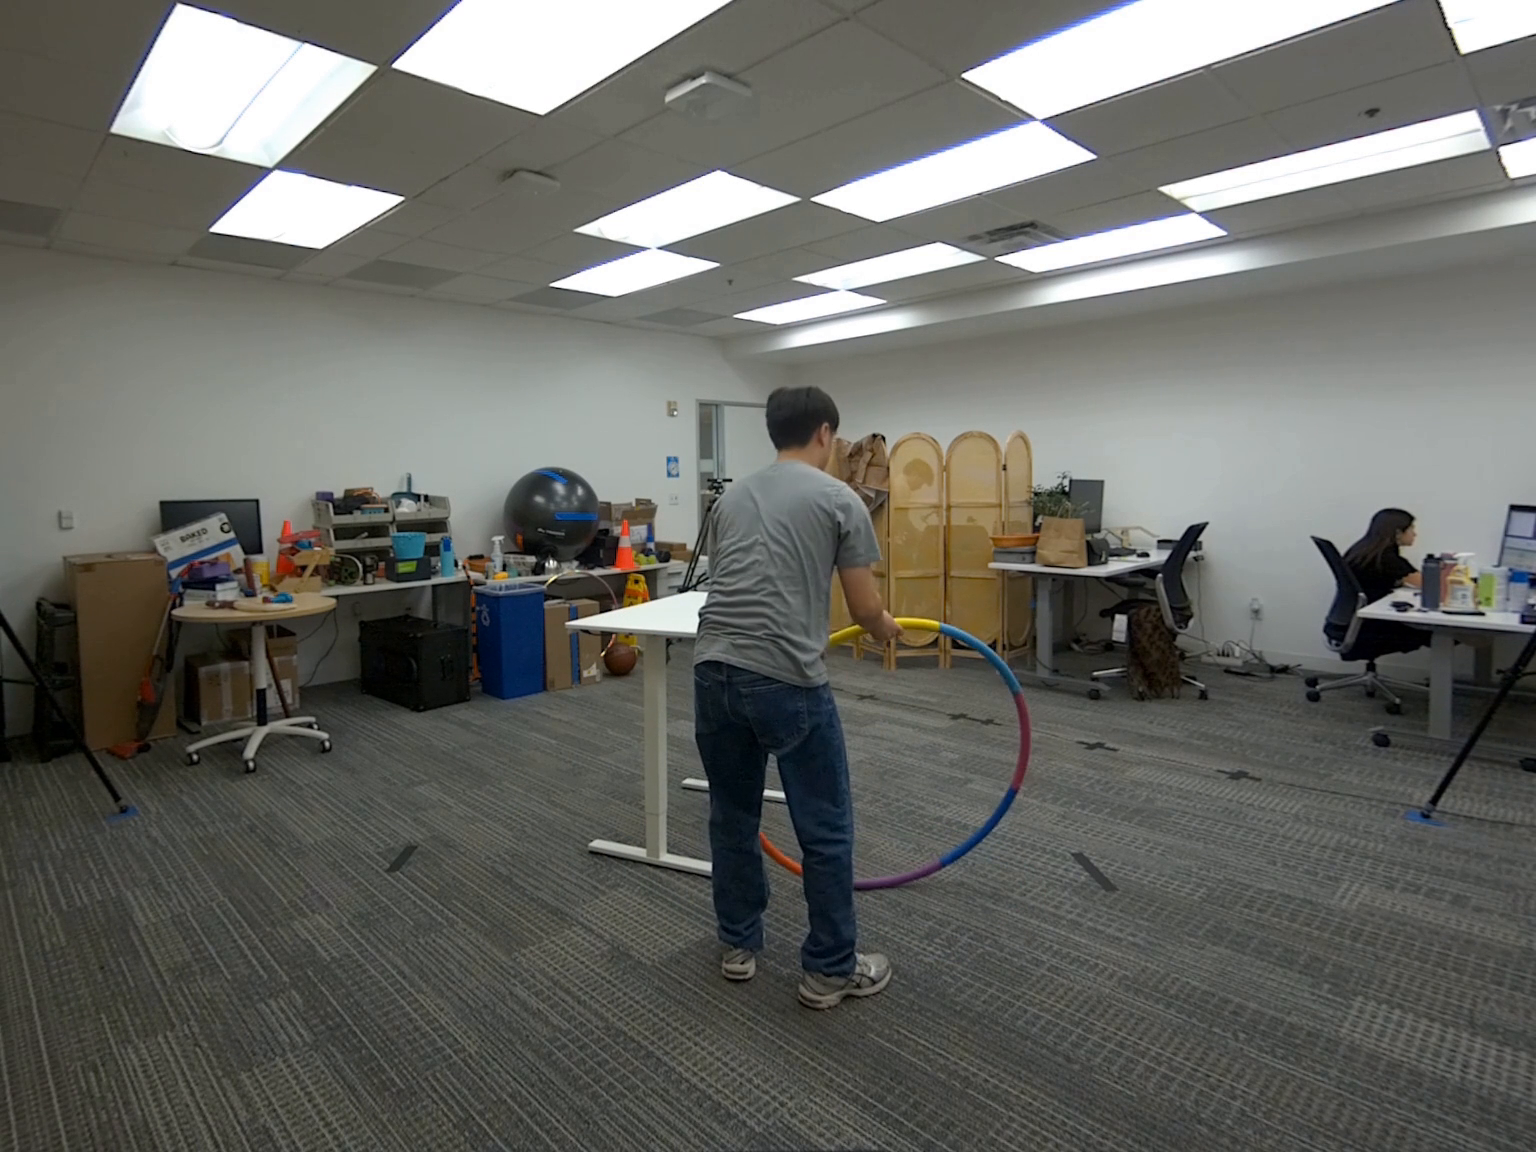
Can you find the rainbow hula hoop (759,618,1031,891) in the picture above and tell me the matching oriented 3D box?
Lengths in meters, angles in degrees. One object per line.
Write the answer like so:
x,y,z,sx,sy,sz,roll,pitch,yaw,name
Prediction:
0.383,0.596,2.773,0.971,0.963,0.036,-1,19,-8,rainbow hula hoop
